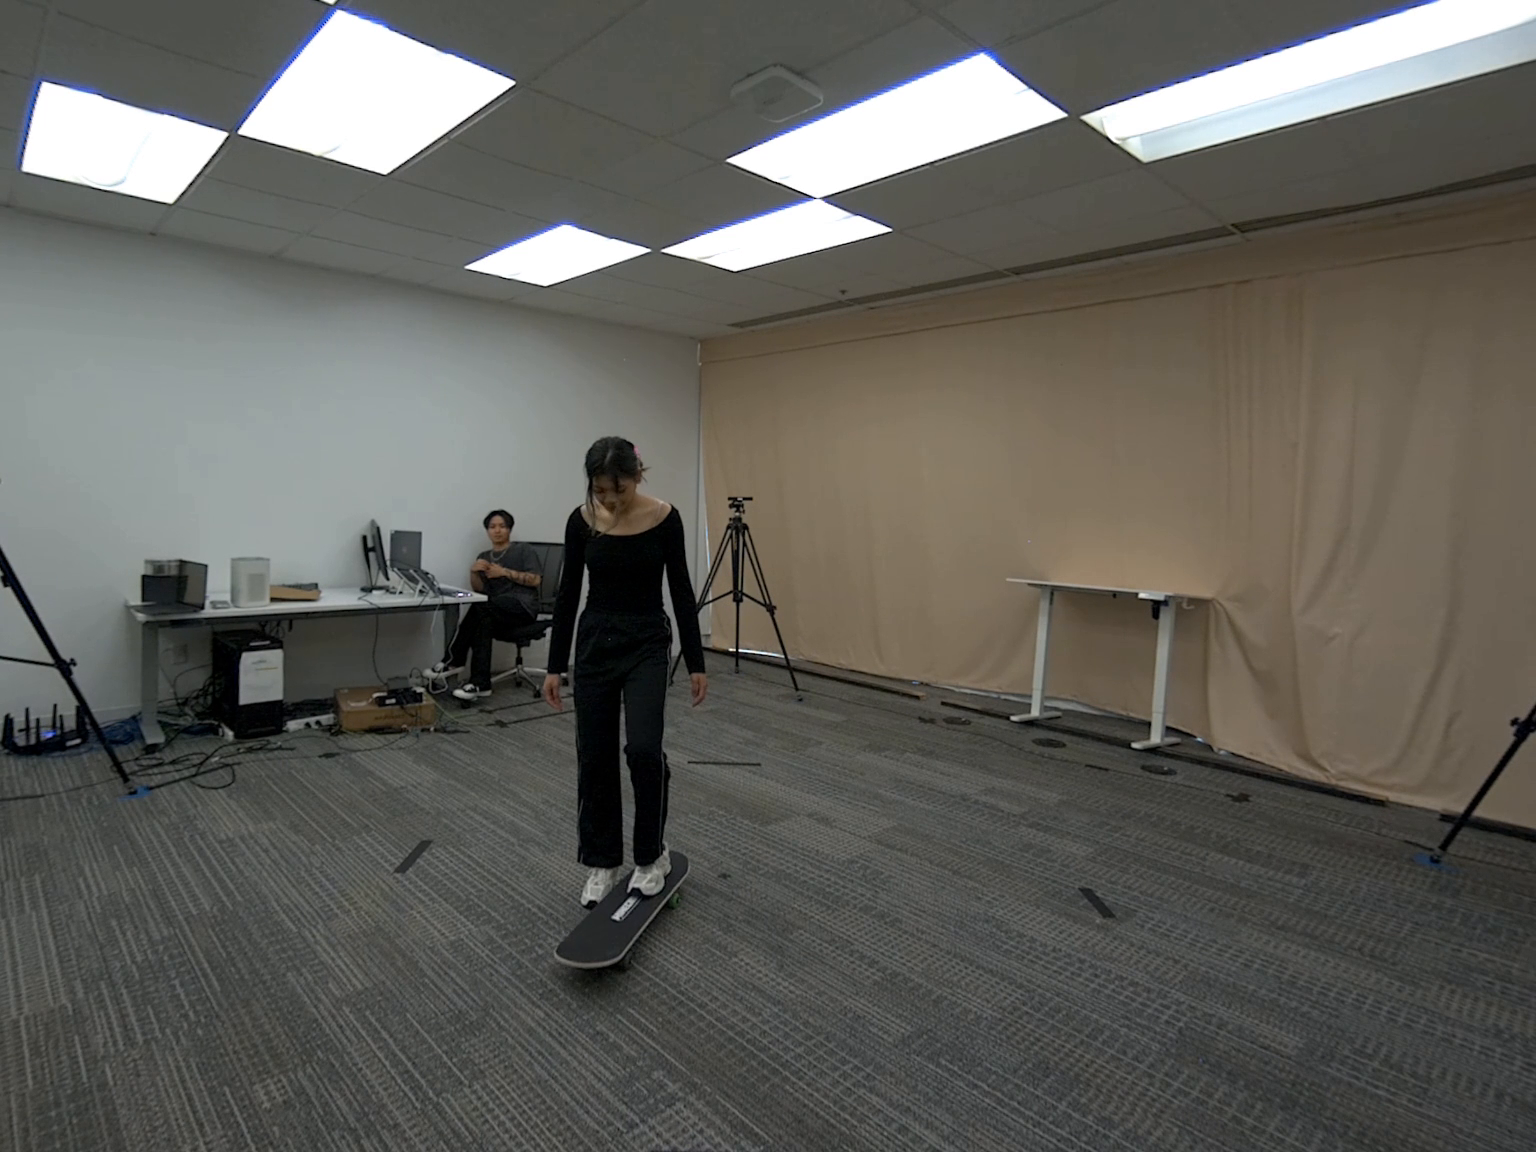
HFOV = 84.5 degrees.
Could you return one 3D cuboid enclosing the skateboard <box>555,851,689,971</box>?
[{"bbox_3d":[-0.443,1.082,2.685,0.196,0.110,0.778,3,5,13],"label":"skateboard"}]
